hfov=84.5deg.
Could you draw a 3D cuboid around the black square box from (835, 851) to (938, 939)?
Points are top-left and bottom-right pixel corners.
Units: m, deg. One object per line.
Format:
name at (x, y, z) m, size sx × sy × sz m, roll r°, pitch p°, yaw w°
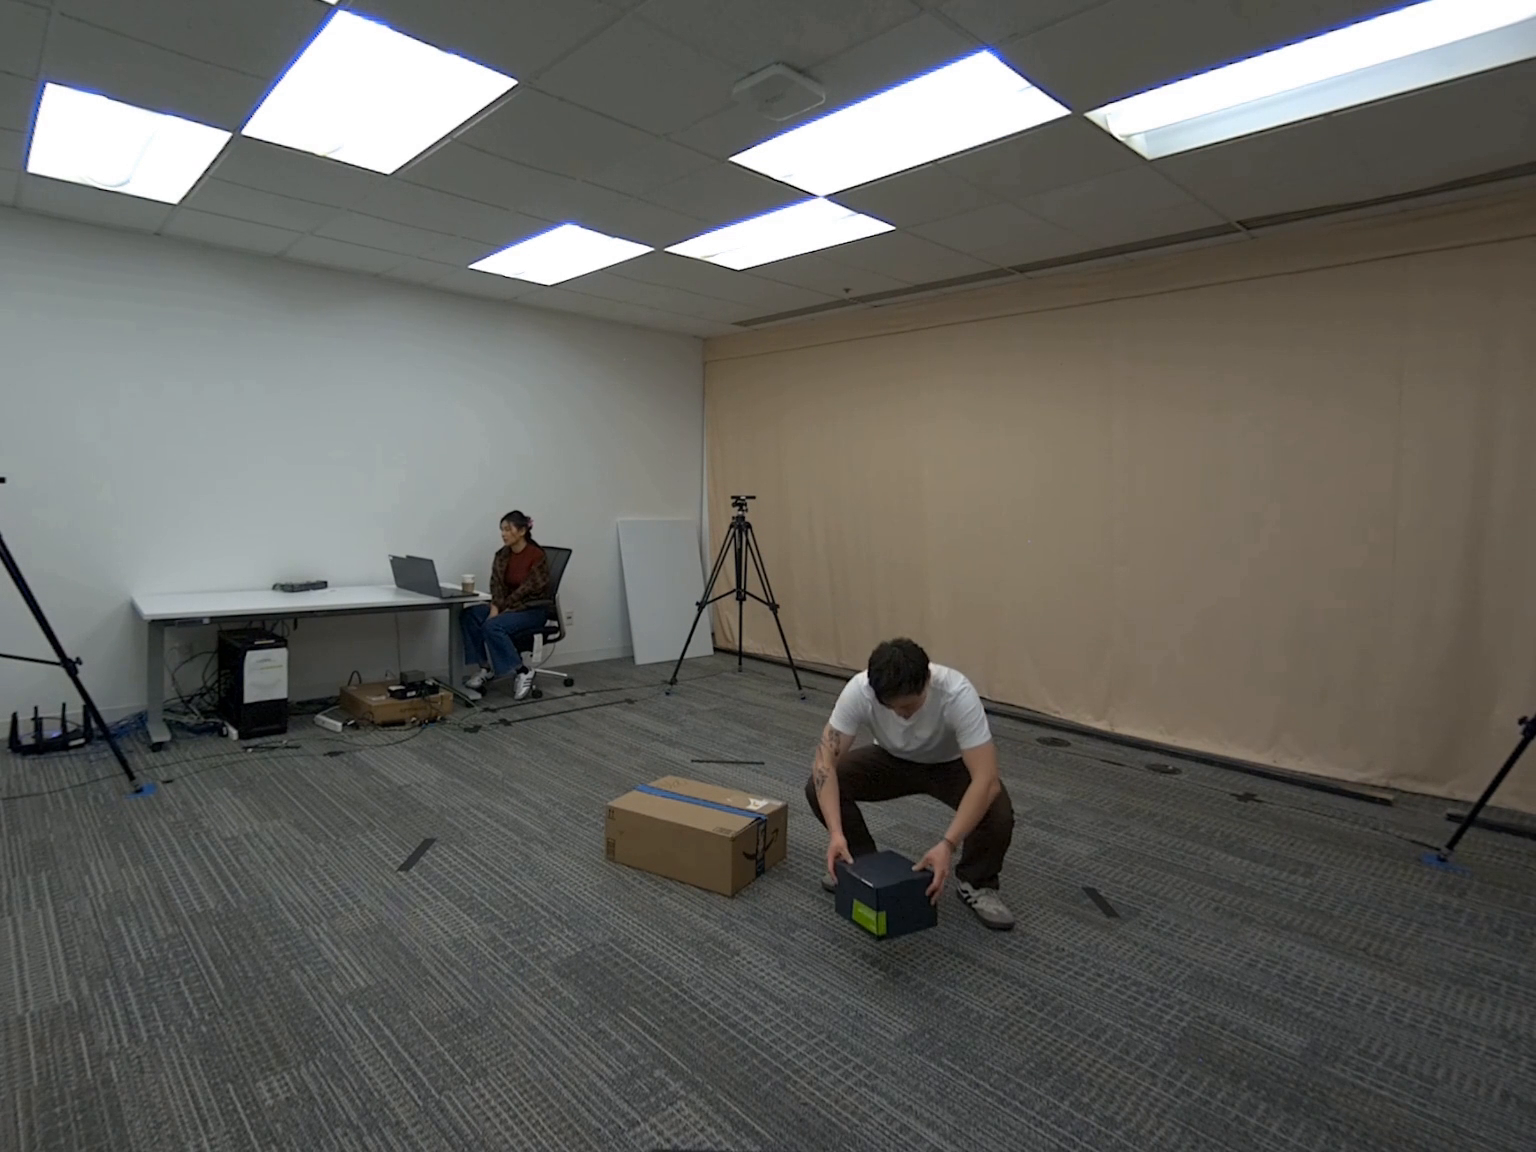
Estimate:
black square box at (0.337, 0.933, 2.521) m, size 0.213 × 0.156 × 0.232 m, roll -1°, pitch 3°, yaw -27°
